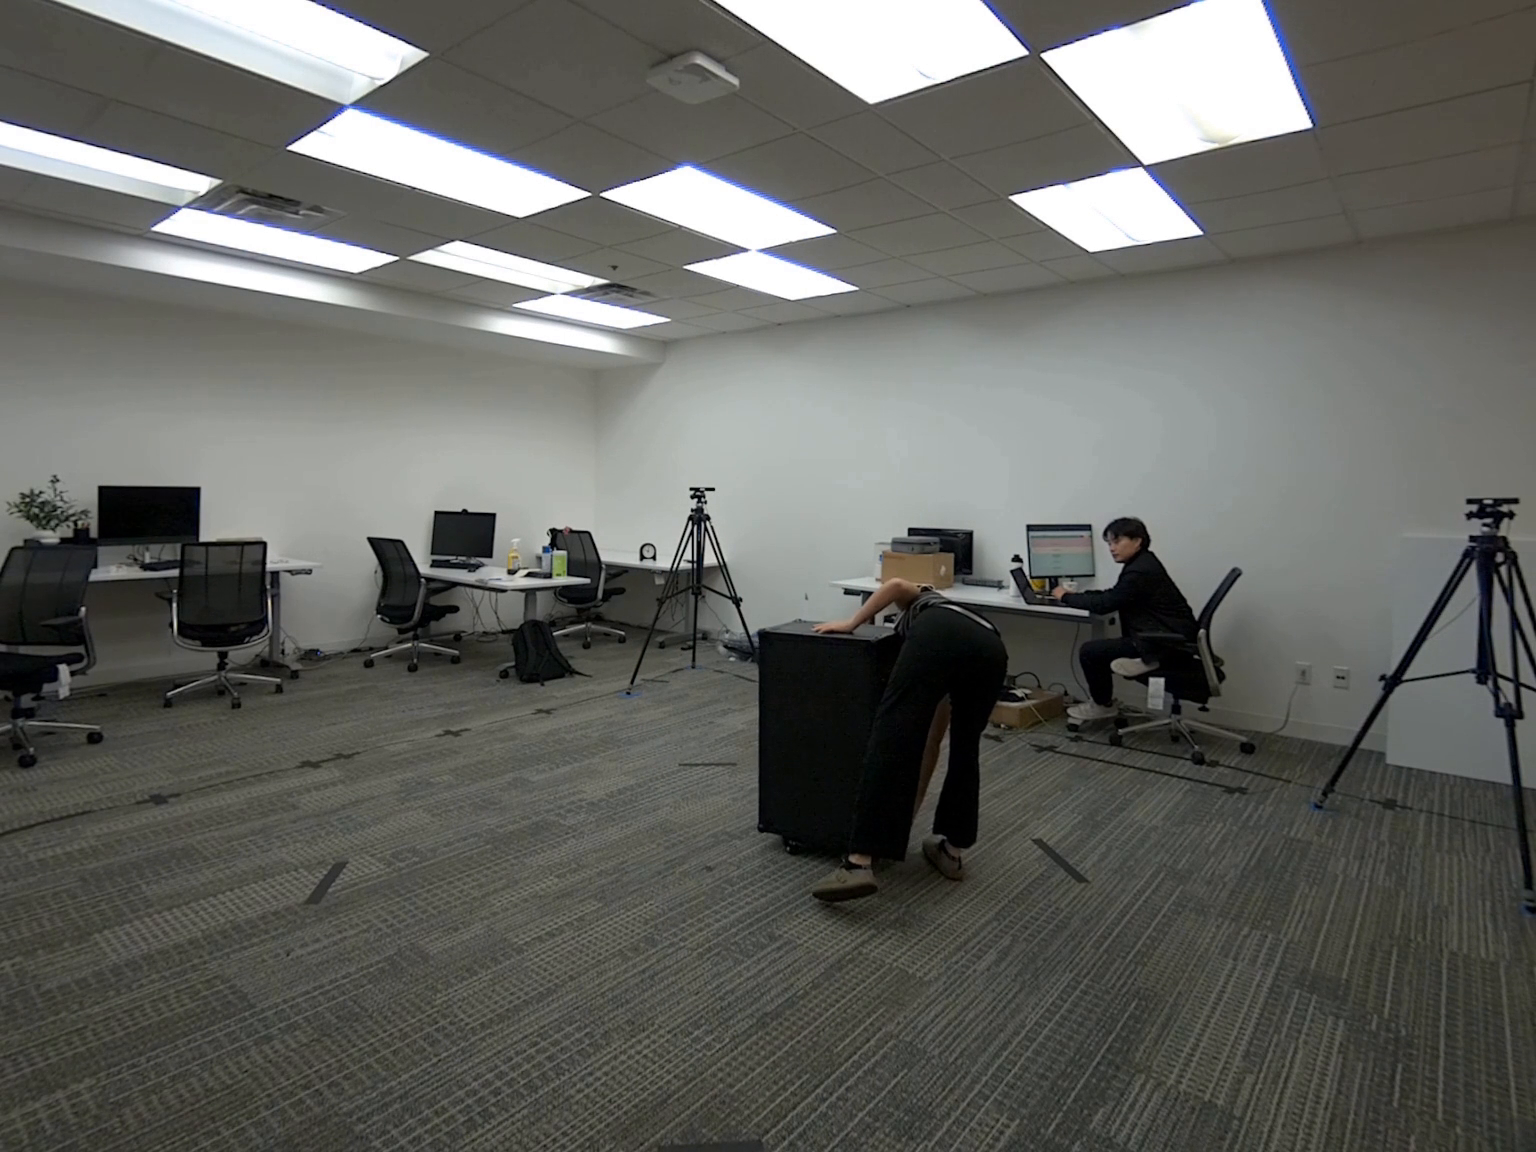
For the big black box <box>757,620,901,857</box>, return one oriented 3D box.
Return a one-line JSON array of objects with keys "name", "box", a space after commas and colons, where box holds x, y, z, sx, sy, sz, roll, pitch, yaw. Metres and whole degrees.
[{"name": "big black box", "box": [0.239, 0.631, 3.330, 0.536, 0.861, 0.385, 1, 1, 30]}]
